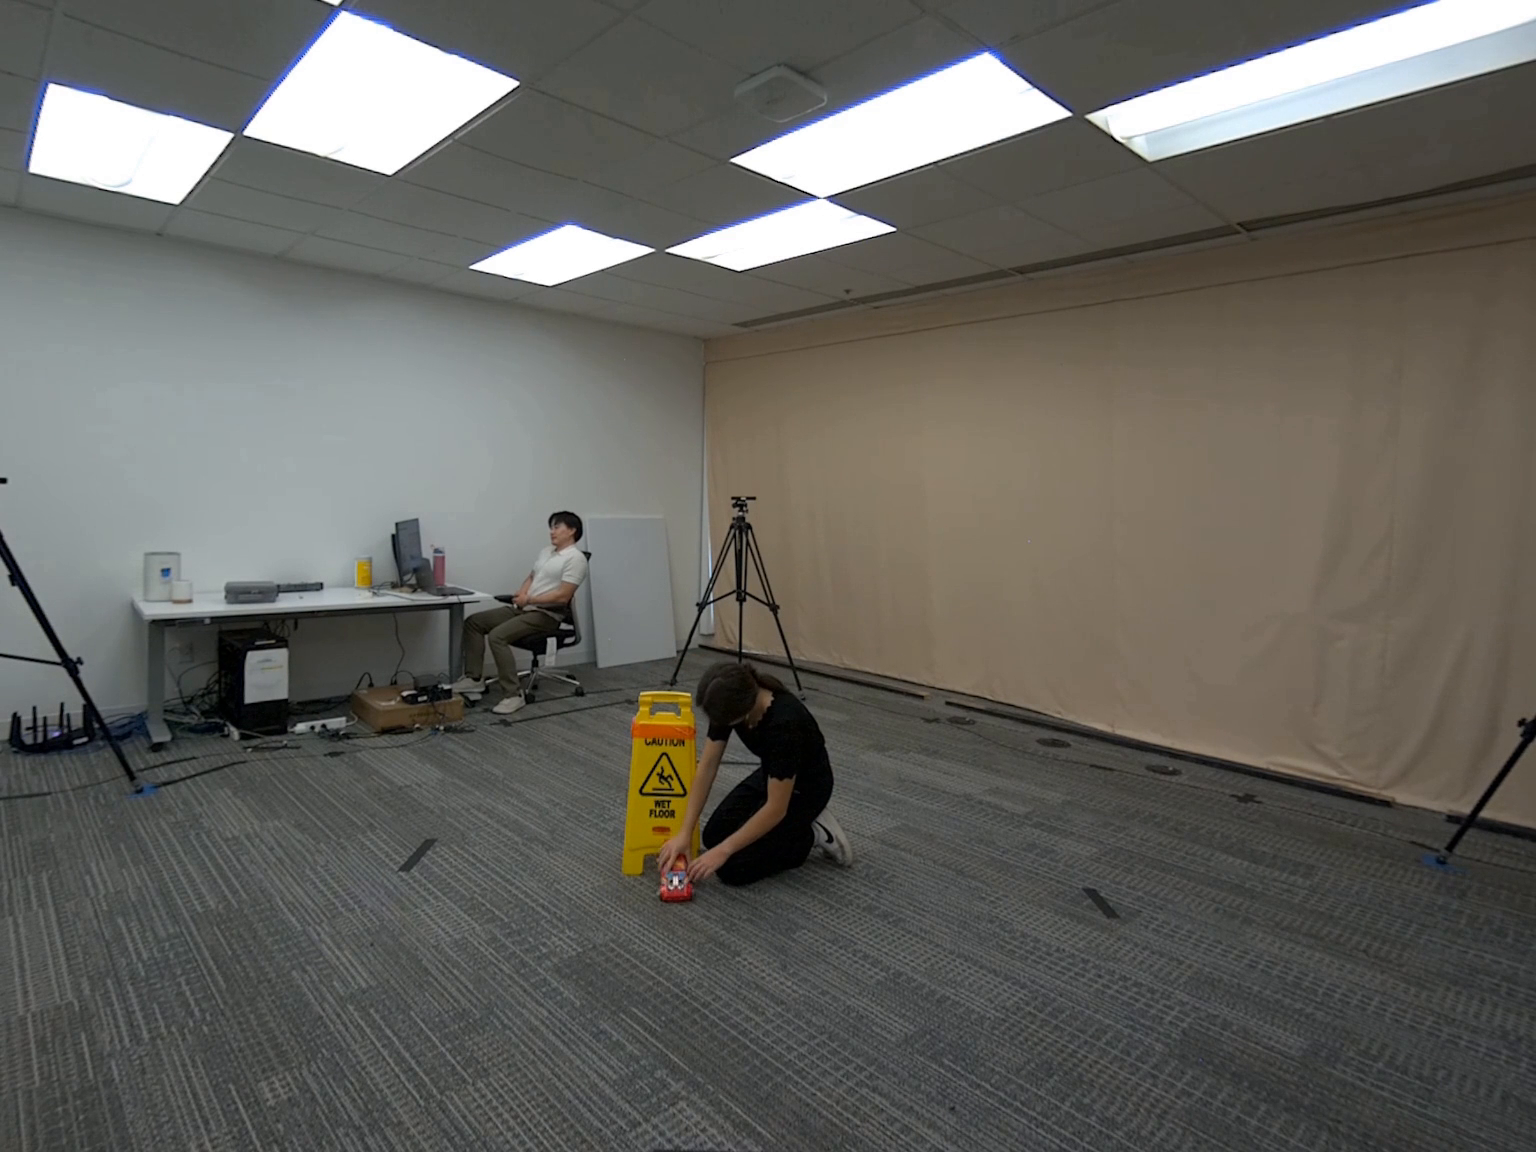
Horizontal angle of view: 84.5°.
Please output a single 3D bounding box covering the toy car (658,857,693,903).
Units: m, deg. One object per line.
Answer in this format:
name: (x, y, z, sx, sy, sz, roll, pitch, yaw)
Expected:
toy car: (-0.335, 1.045, 2.990, 0.130, 0.081, 0.260, 1, 38, -4)
